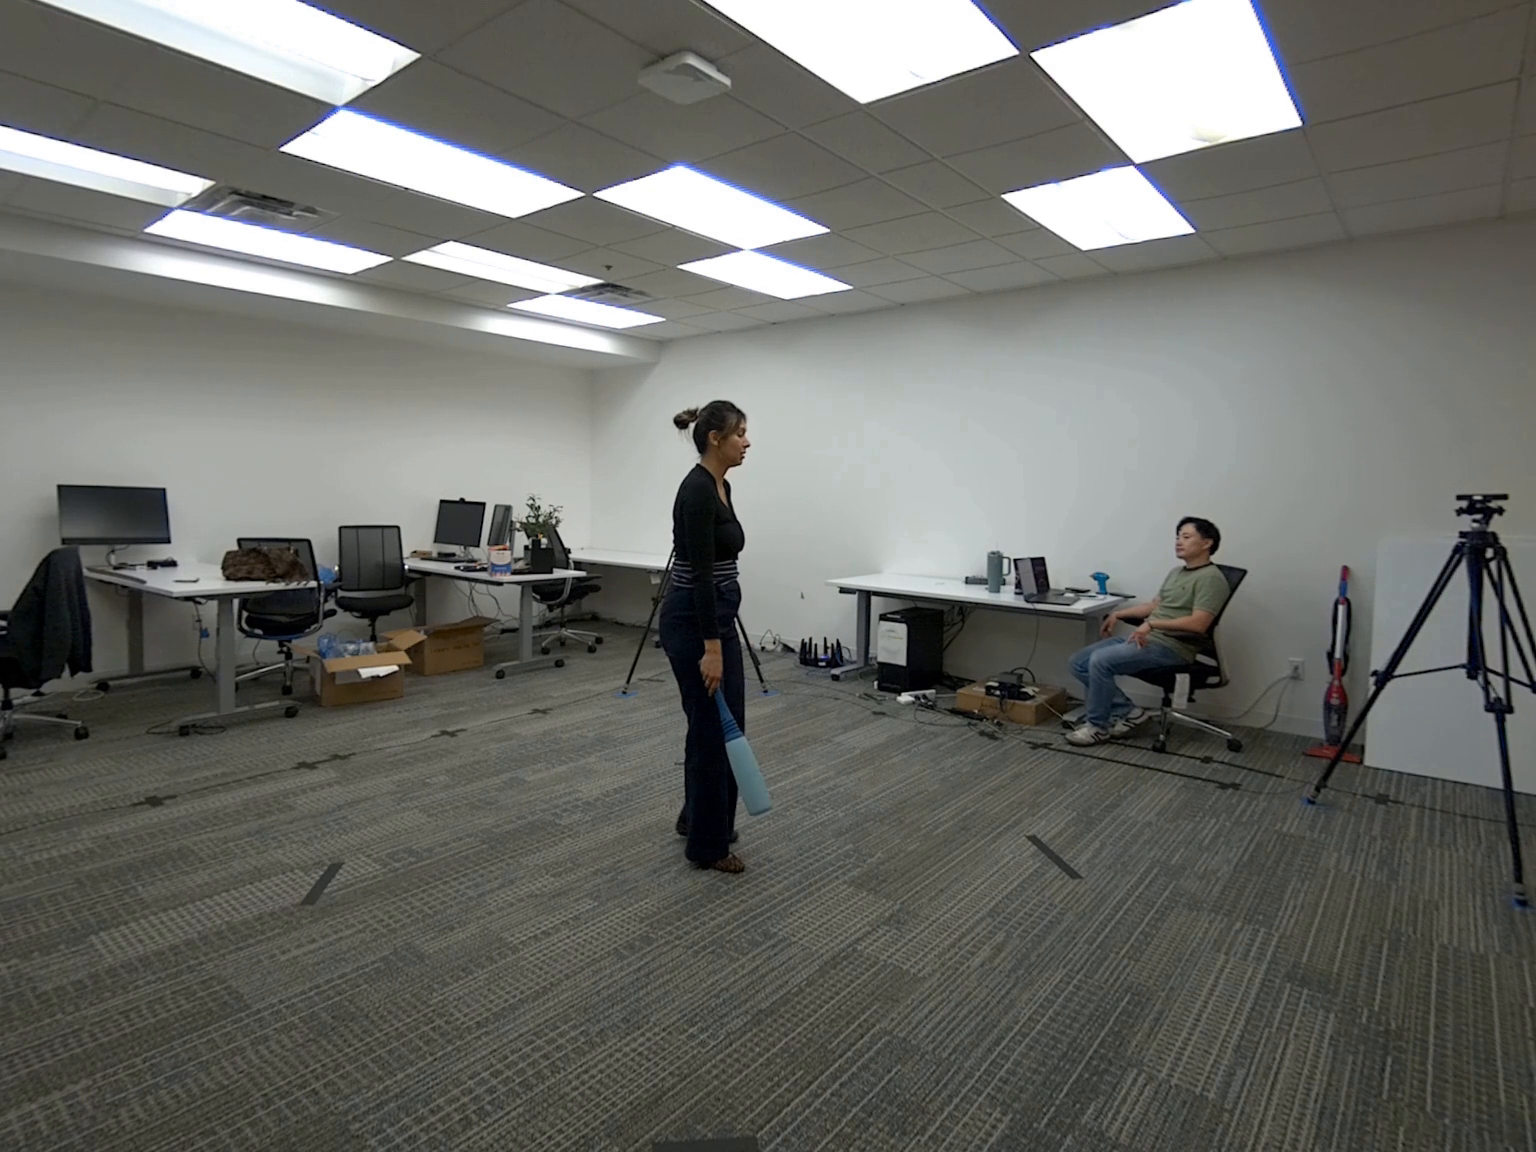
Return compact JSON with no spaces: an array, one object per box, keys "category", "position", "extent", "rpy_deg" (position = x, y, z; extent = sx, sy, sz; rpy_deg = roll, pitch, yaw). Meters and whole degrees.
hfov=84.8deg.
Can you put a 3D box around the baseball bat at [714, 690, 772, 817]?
[{"category":"baseball bat","position":[-0.125,0.535,2.877],"extent":[0.088,0.554,0.088],"rpy_deg":[-21,-15,-7]}]
